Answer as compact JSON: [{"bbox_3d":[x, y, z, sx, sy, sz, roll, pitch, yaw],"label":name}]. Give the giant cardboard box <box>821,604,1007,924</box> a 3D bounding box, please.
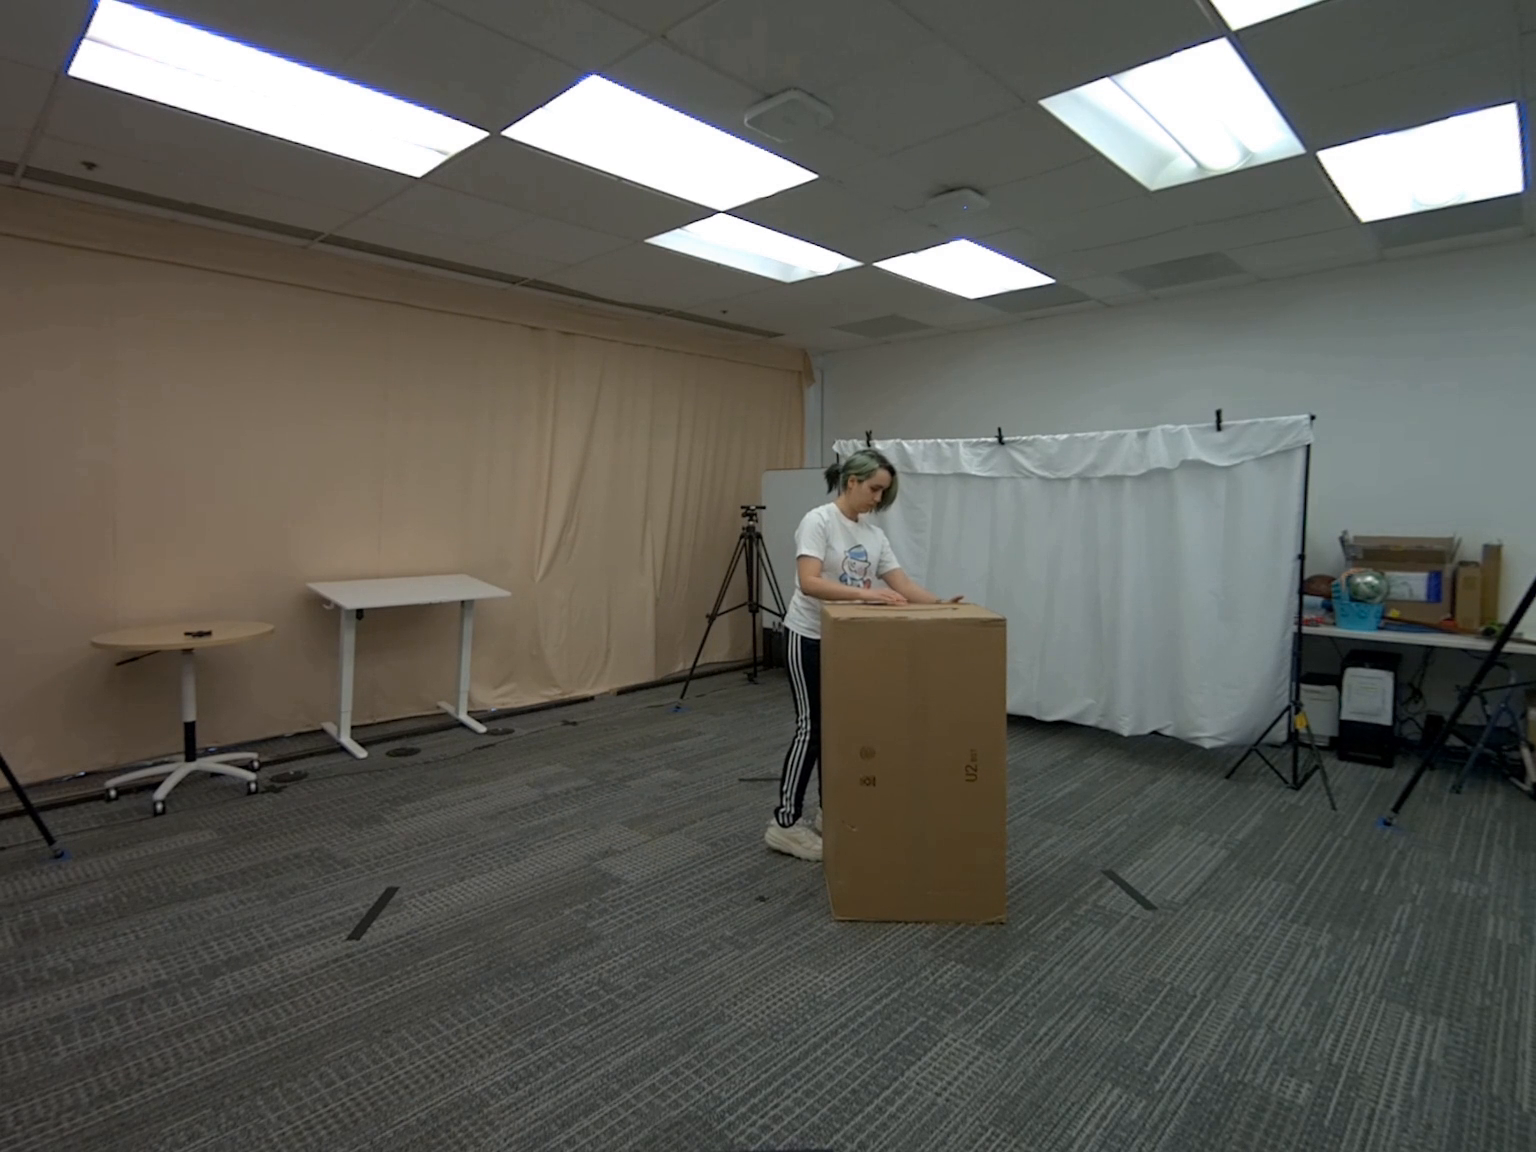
[{"bbox_3d":[0.506,0.637,2.994,0.579,1.024,0.426,0,3,2],"label":"giant cardboard box"}]
